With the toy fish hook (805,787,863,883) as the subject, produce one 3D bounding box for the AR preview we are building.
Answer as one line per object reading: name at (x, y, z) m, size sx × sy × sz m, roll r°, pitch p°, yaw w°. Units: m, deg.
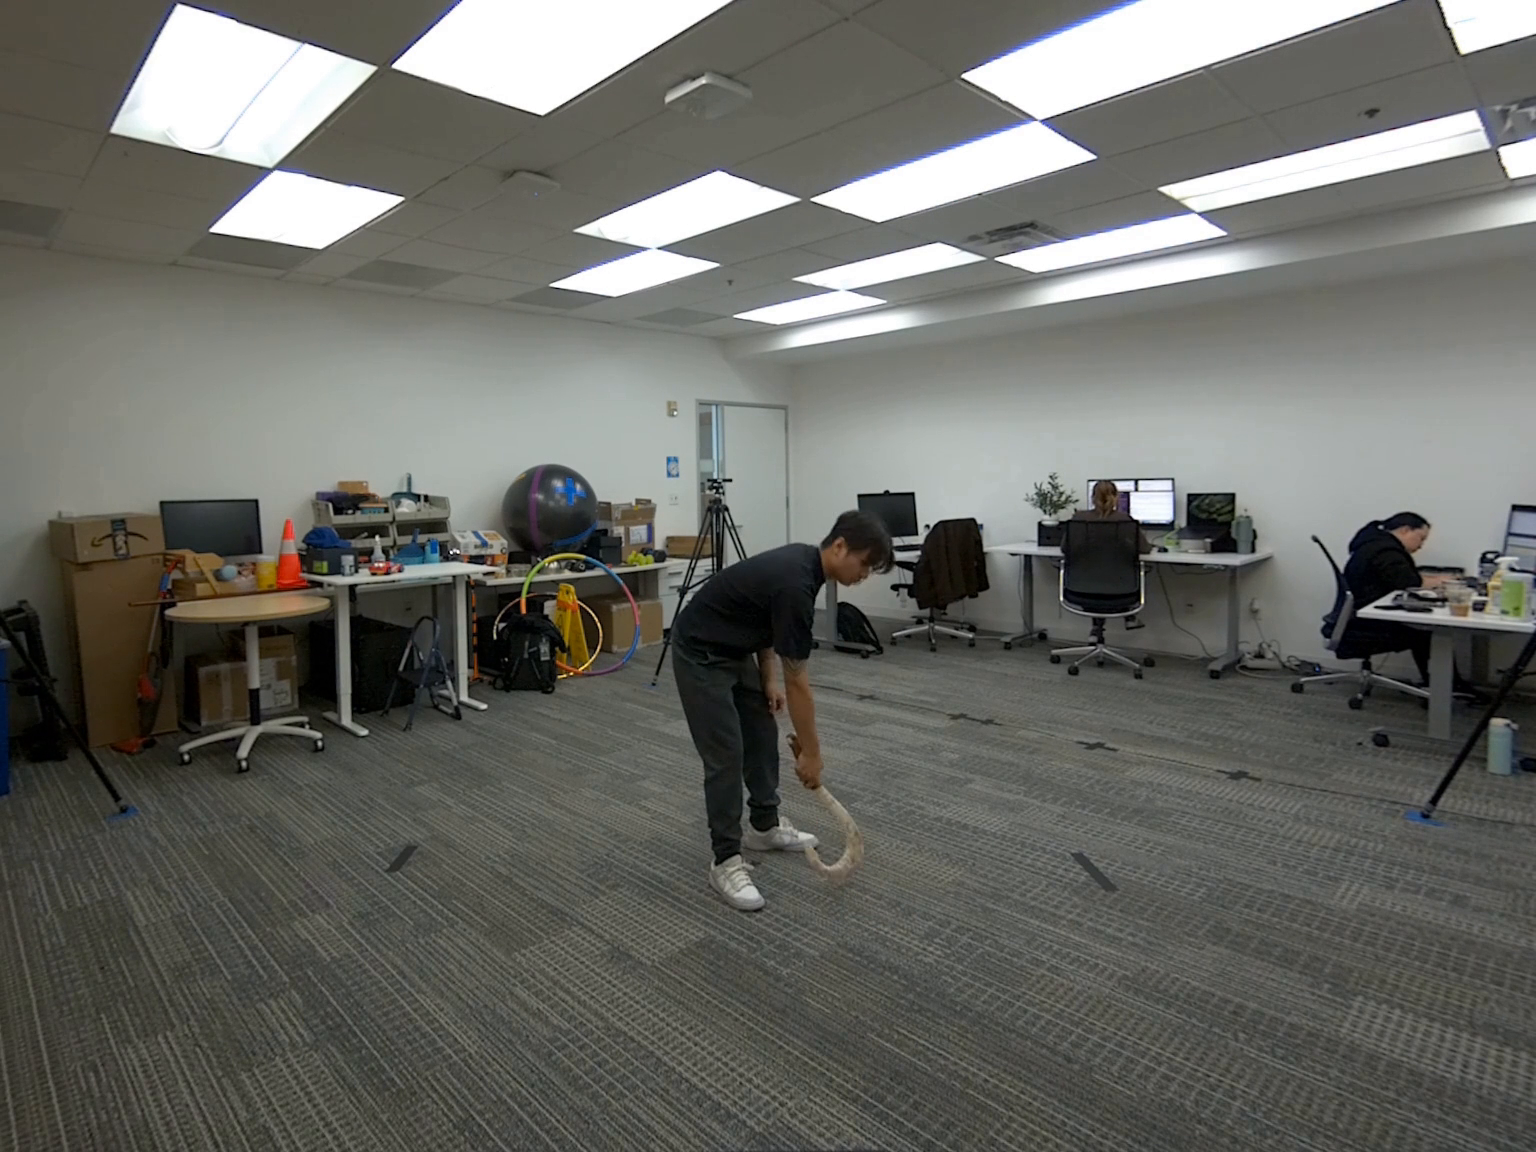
toy fish hook at (0.169, 0.768, 2.858) m, size 0.222 × 0.506 × 0.049 m, roll -30°, pitch 1°, yaw -37°
